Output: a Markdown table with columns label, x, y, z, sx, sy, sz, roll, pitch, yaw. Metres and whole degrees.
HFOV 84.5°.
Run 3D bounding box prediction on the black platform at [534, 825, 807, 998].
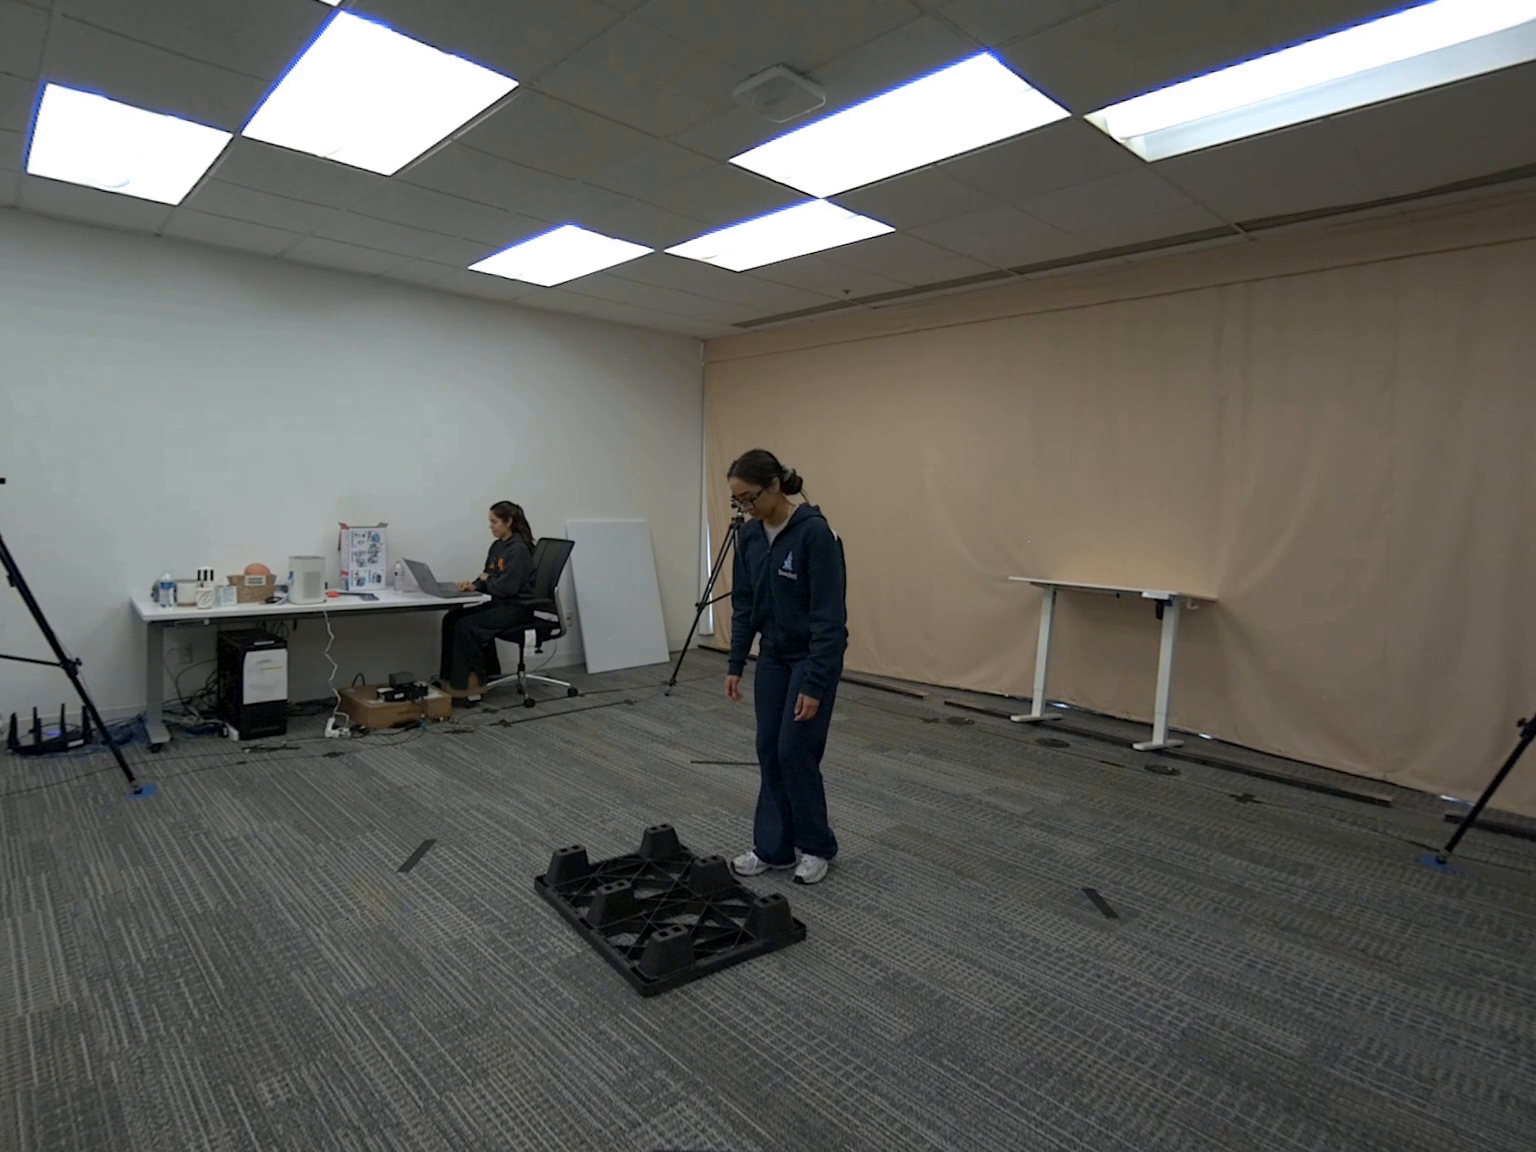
| label | x | y | z | sx | sy | sz | roll | pitch | yaw |
| --- | --- | --- | --- | --- | --- | --- | --- | --- | --- |
| black platform | -0.343 | 1.057 | 2.819 | 0.592 | 0.143 | 0.826 | -4 | 7 | -37 |
